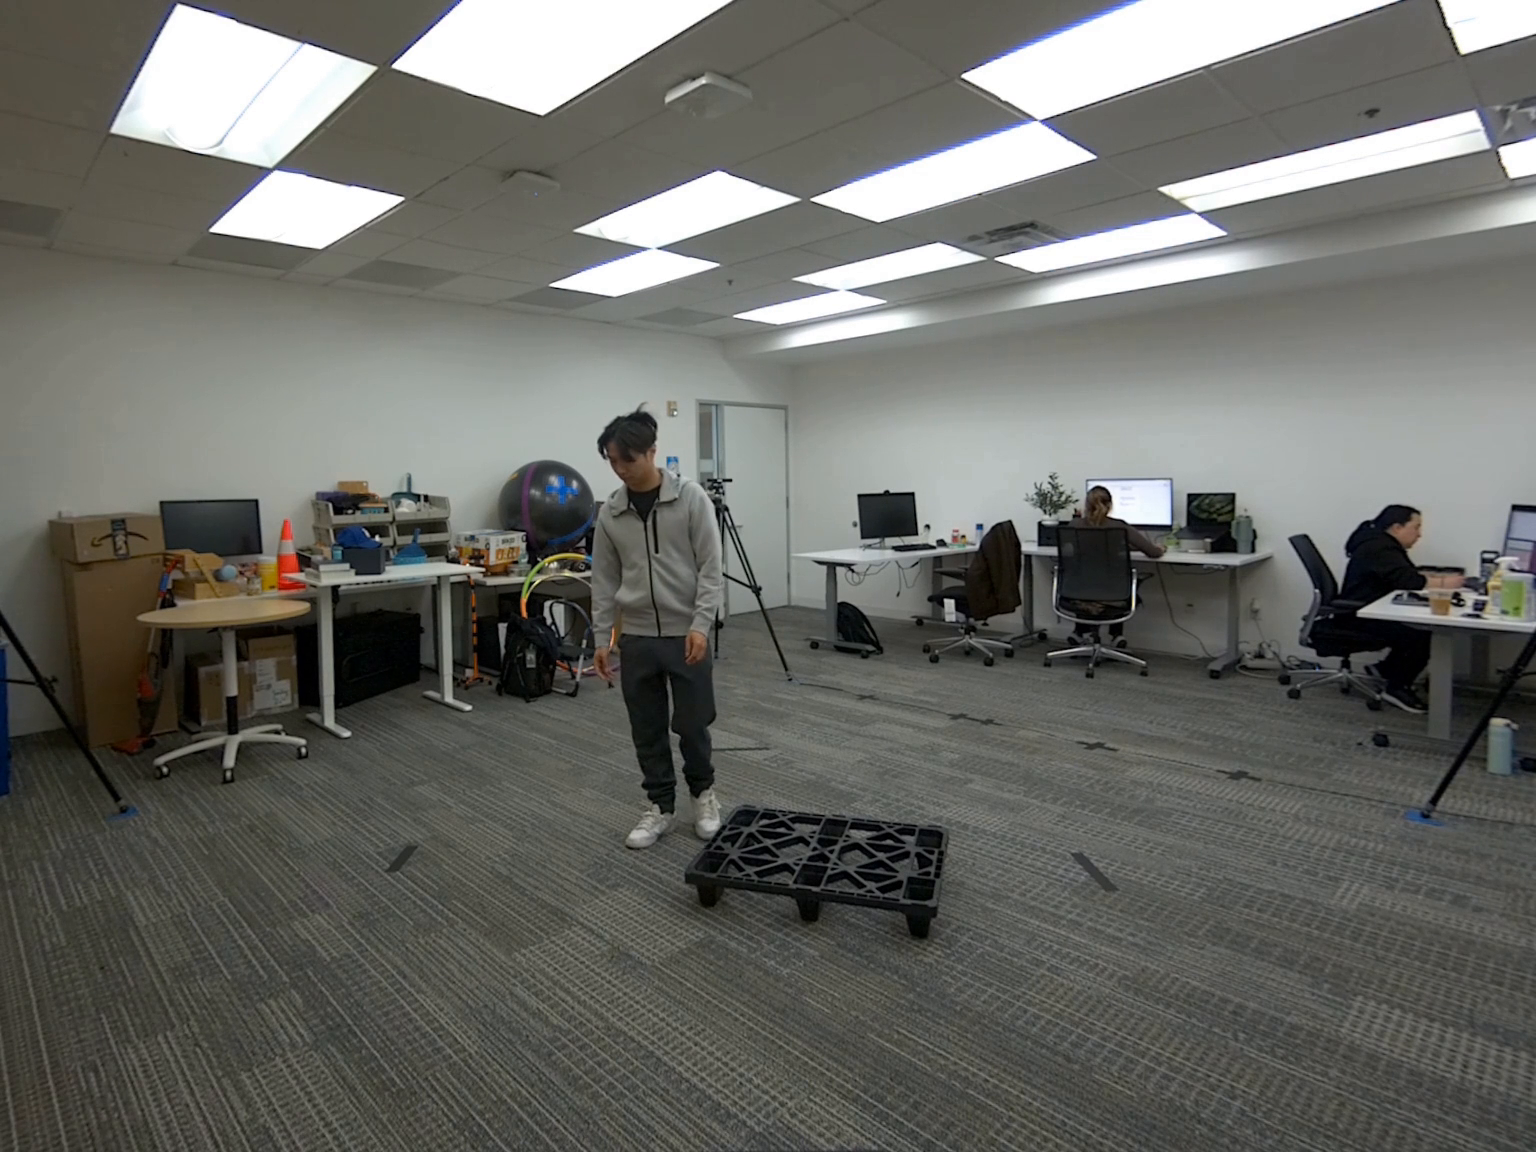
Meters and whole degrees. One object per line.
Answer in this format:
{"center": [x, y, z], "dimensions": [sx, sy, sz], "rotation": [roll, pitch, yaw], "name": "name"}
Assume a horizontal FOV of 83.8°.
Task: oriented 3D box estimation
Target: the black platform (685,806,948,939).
{"center": [0.190, 0.996, 2.918], "dimensions": [0.819, 0.143, 0.597], "rotation": [1, 6, 17], "name": "black platform"}
